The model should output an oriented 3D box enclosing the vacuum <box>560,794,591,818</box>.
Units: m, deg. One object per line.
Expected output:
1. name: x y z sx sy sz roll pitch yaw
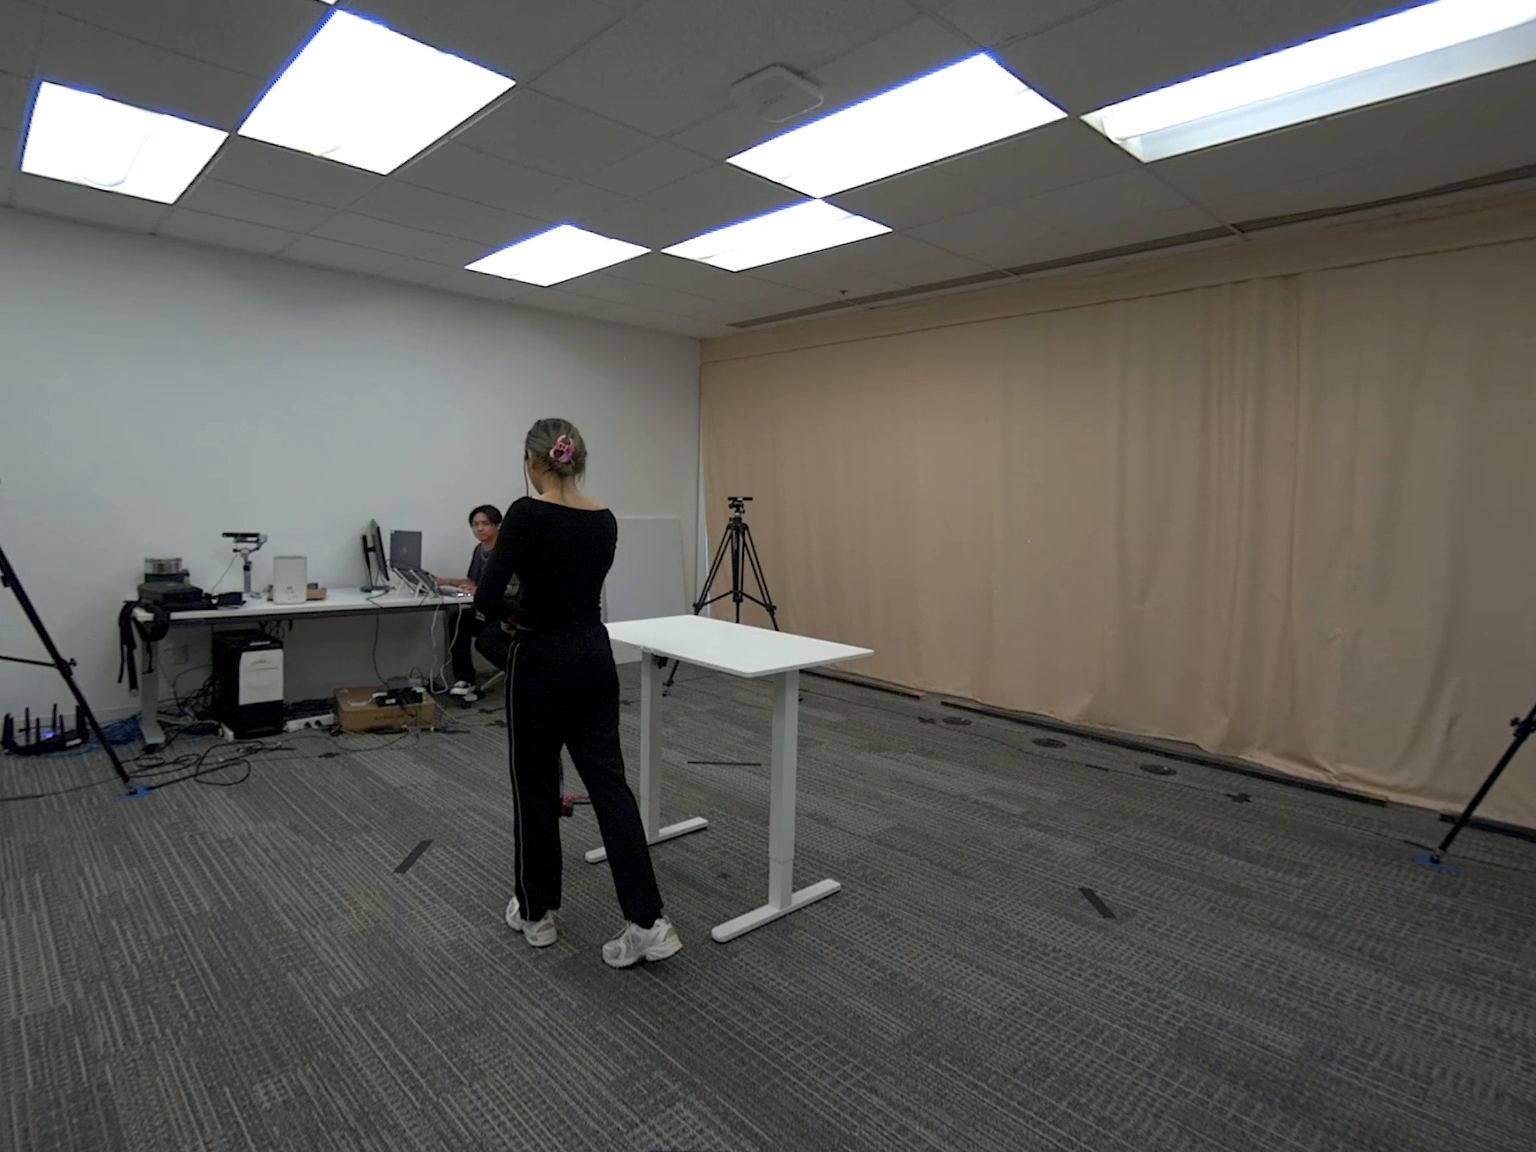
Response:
1. vacuum: -0.795 0.501 2.877 0.250 1.028 0.148 -6 41 -11
